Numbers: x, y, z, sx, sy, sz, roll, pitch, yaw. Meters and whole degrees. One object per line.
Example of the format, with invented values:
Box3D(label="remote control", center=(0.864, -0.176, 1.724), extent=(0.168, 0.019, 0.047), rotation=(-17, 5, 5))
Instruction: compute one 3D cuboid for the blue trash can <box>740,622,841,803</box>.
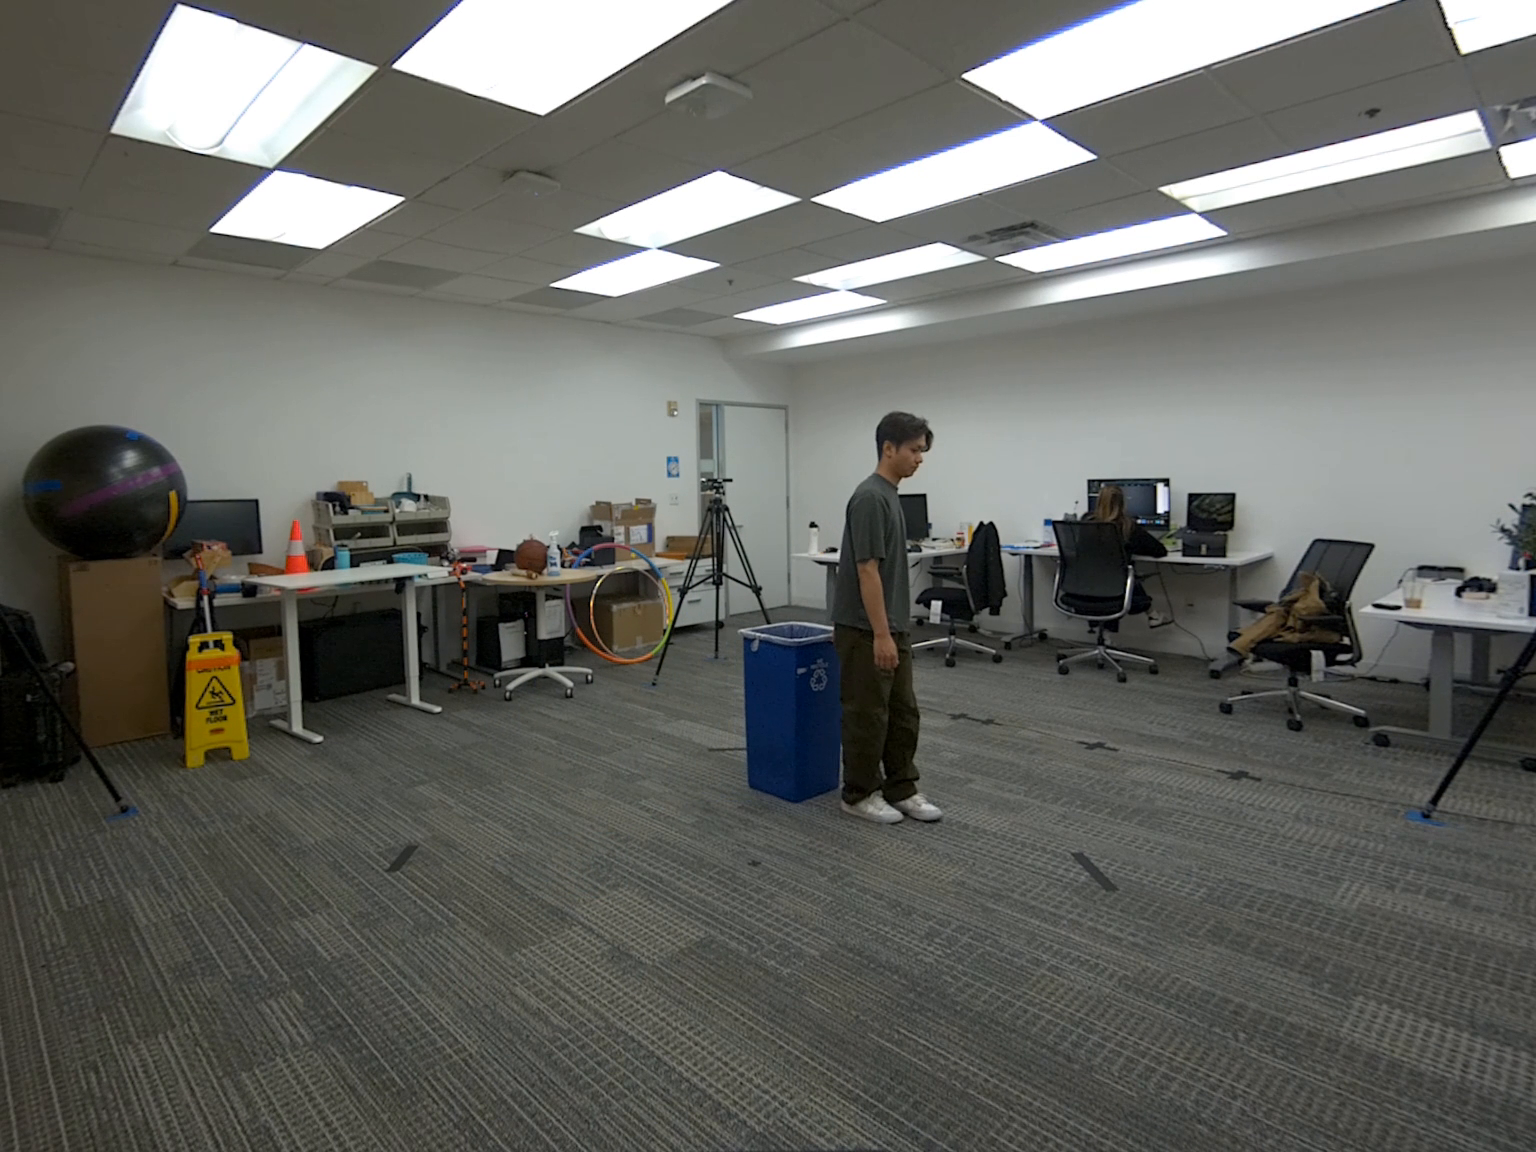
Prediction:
Box3D(label="blue trash can", center=(0.119, 0.597, 3.864), extent=(0.364, 0.711, 0.390), rotation=(-5, 6, -44))
